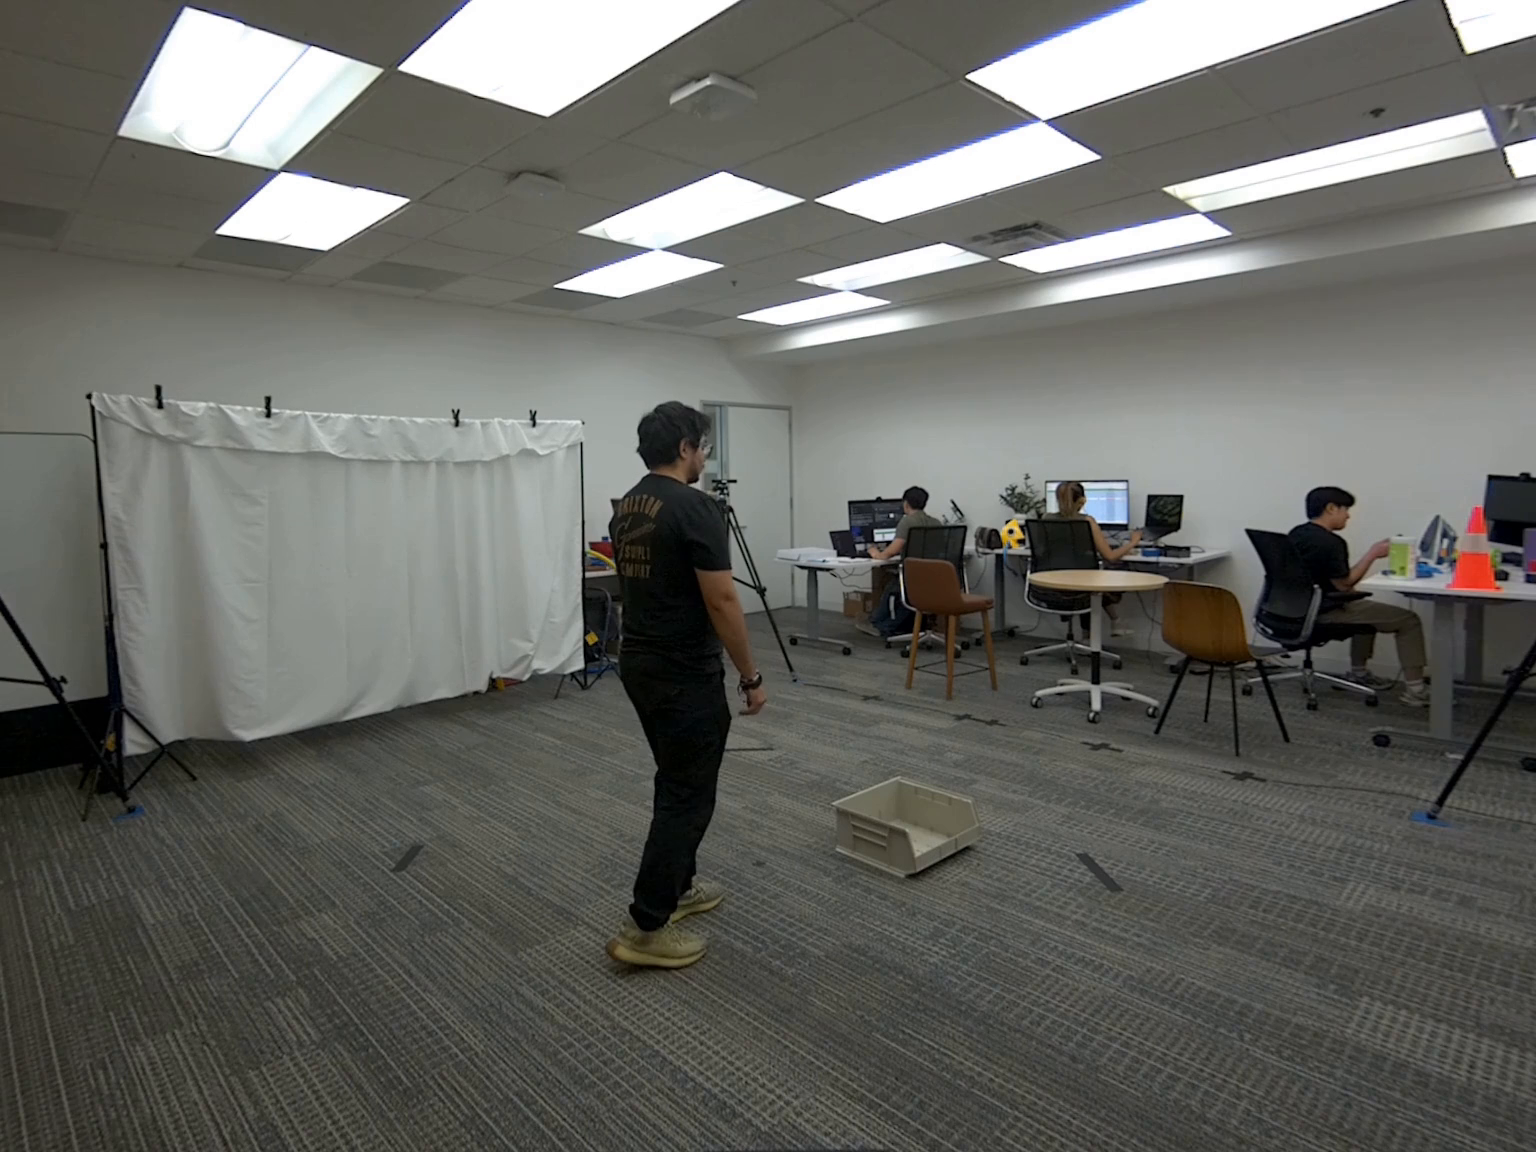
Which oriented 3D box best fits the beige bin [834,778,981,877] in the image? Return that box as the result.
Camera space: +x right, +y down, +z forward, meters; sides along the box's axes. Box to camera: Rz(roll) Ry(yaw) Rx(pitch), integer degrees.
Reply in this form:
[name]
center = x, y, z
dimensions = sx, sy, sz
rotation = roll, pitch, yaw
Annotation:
[beige bin]
center = 0.525, 0.939, 3.207
dimensions = 0.411, 0.188, 0.389
rotation = -7, 7, -43
